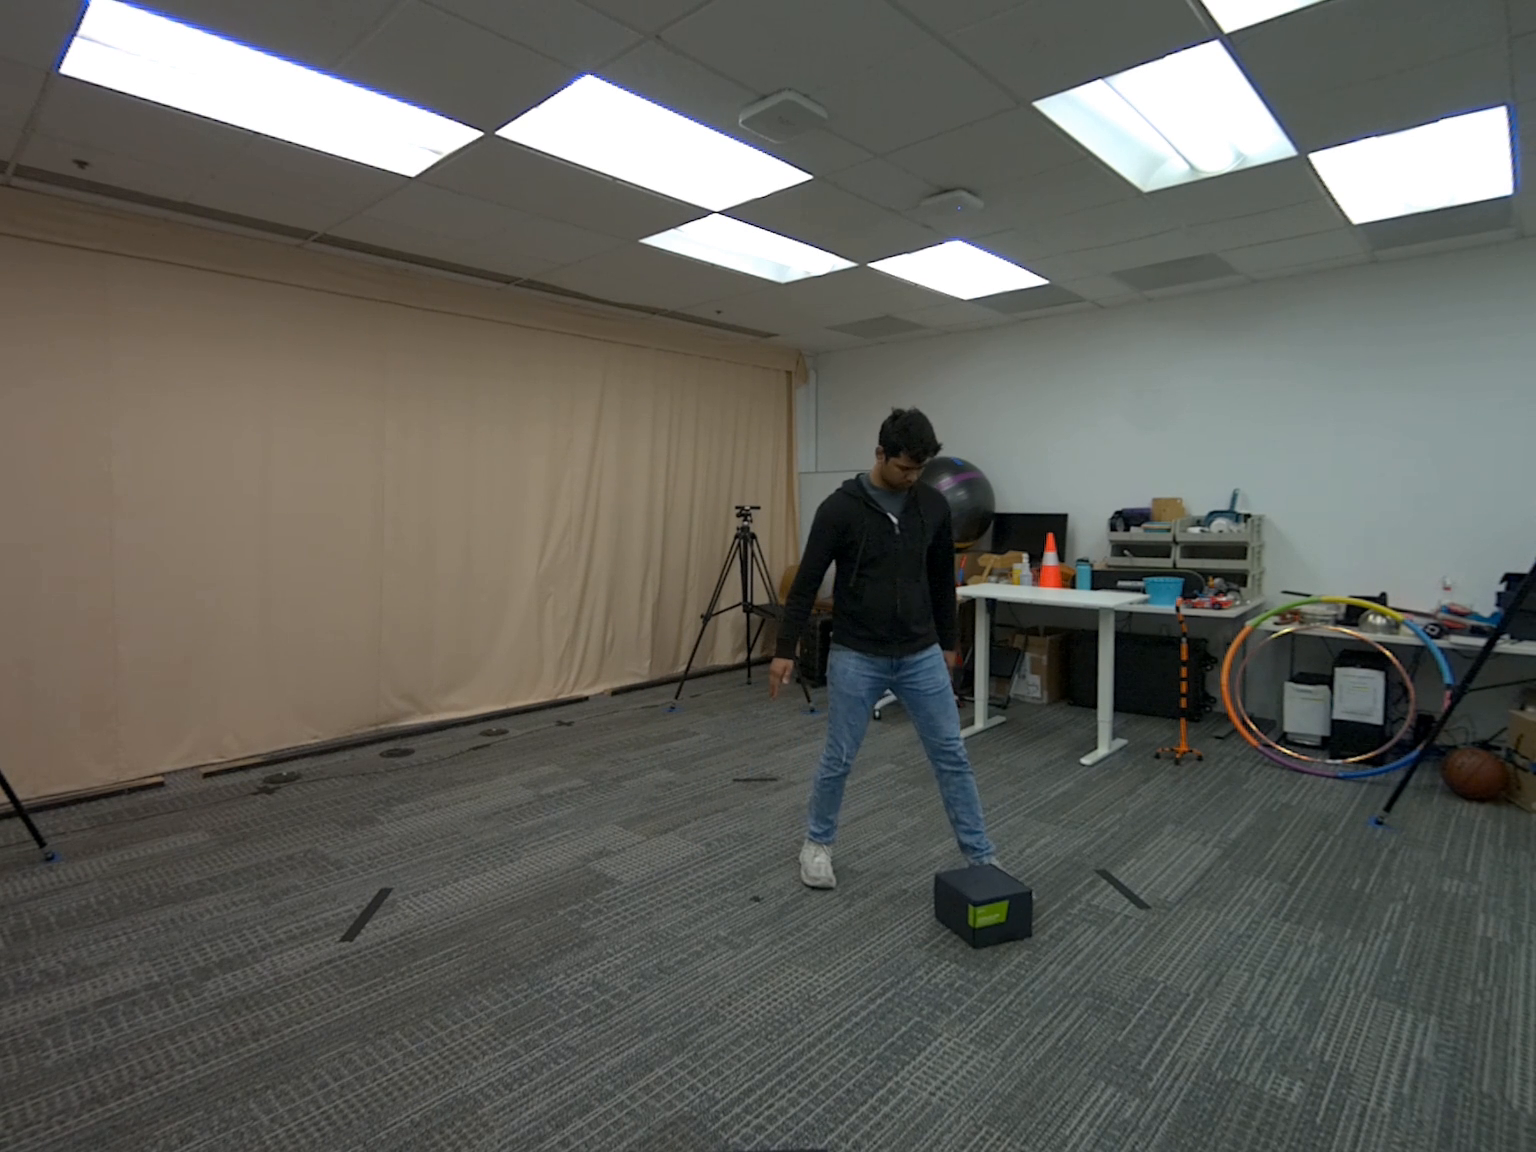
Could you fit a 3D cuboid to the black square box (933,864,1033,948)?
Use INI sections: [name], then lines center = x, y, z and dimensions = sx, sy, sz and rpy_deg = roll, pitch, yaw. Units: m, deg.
[black square box]
center = 0.714, 1.077, 2.770
dimensions = 0.223, 0.155, 0.222
rpy_deg = -2, 5, -22
